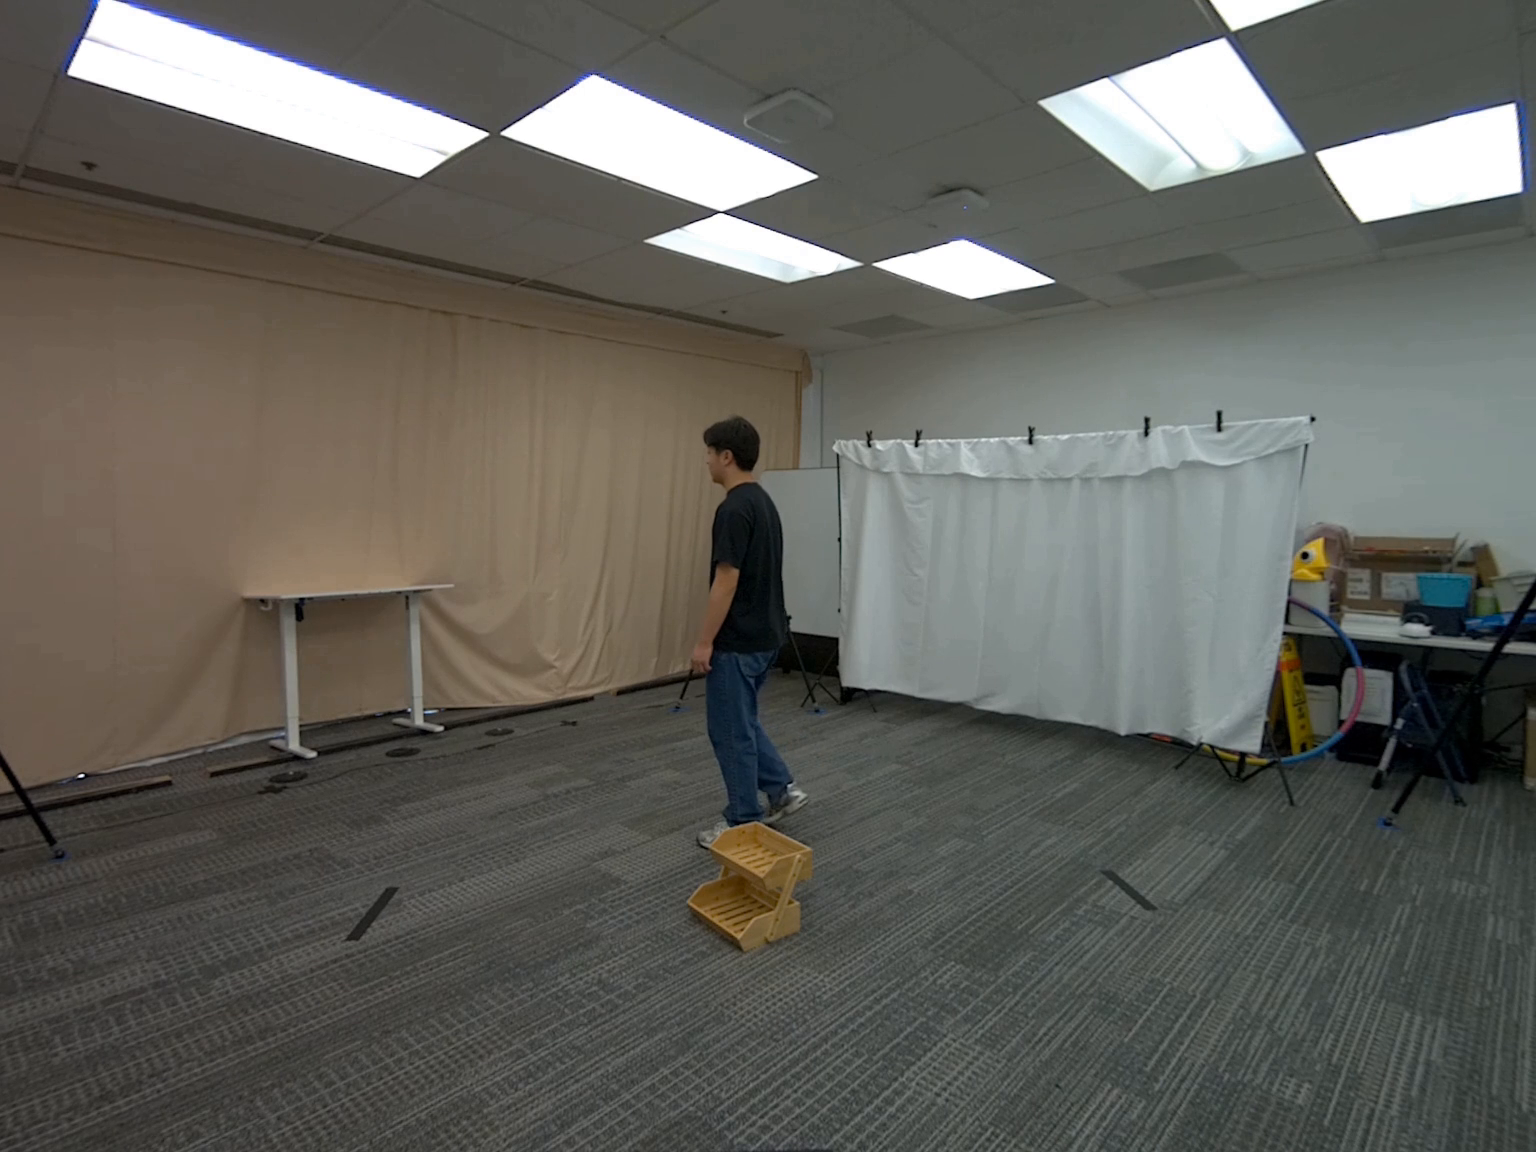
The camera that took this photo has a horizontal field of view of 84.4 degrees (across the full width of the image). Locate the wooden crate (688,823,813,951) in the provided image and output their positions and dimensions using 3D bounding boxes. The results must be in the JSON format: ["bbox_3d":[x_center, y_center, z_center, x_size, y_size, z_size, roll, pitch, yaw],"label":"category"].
[{"bbox_3d":[-0.064,1.021,2.818,0.293,0.273,0.335,-2,4,-38],"label":"wooden crate"}]
